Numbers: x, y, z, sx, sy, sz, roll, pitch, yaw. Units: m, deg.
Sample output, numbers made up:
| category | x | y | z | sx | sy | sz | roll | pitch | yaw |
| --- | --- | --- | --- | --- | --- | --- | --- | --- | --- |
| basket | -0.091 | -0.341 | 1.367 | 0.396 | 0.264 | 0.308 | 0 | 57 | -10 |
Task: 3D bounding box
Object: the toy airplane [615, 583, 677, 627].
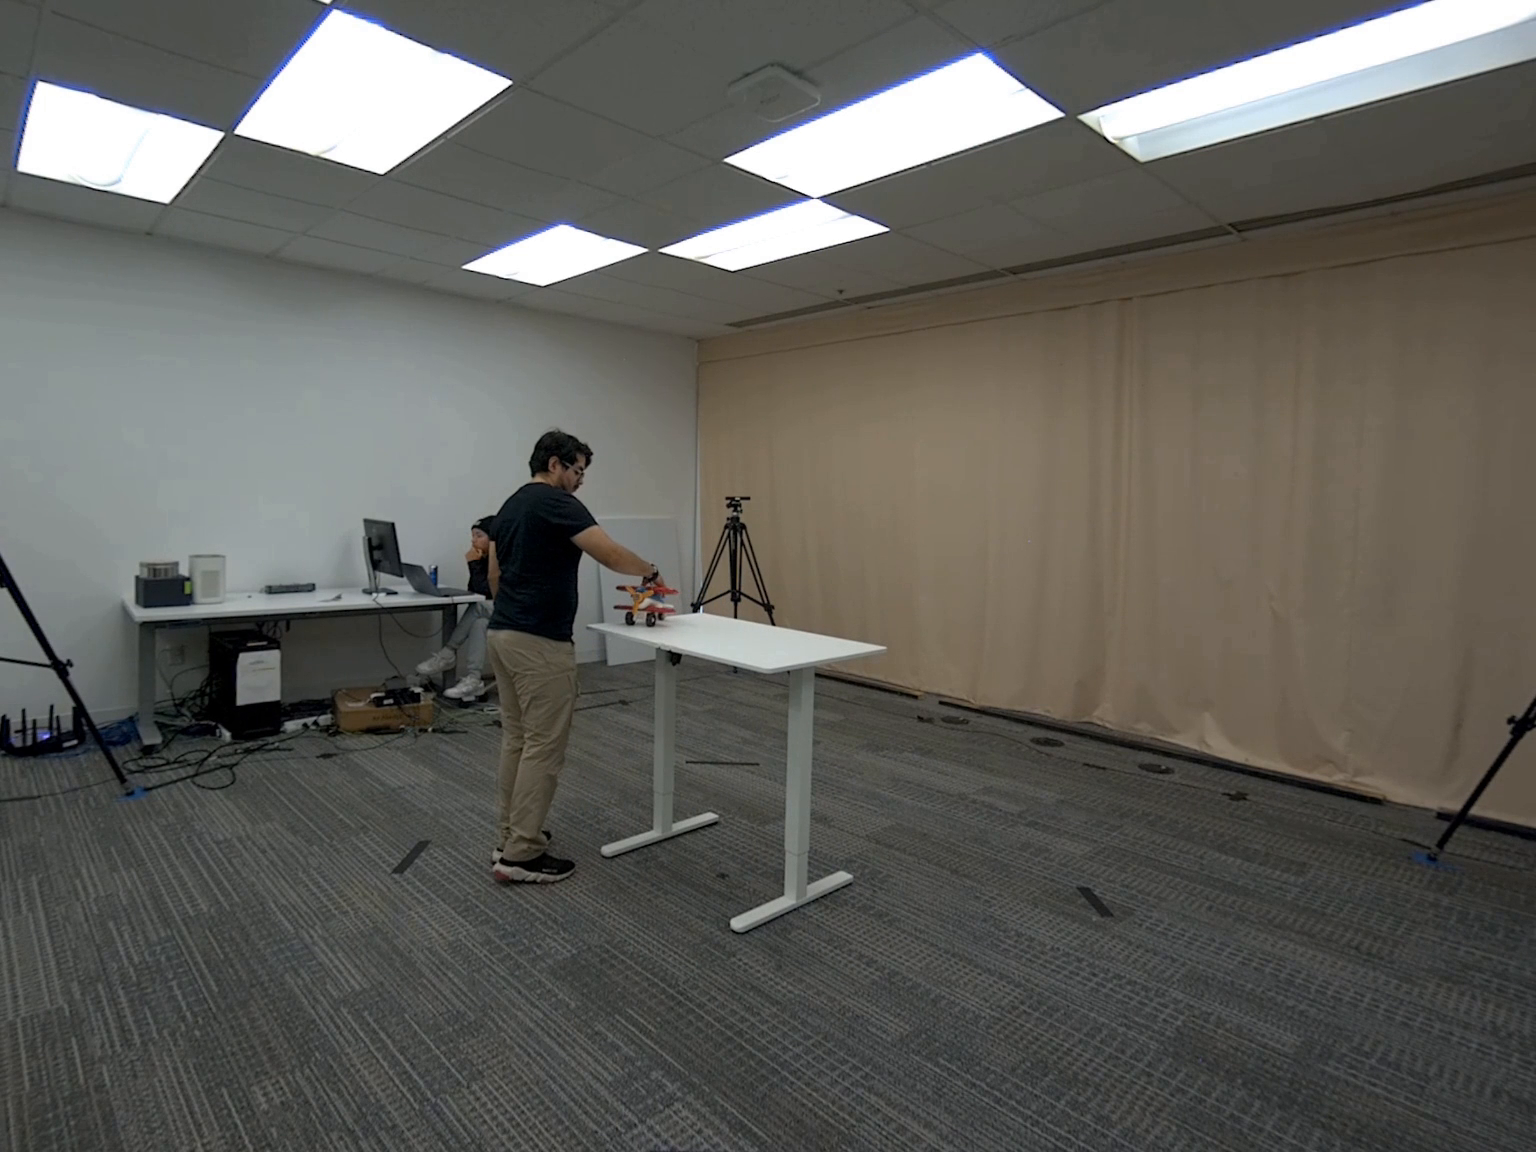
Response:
| category | x | y | z | sx | sy | sz | roll | pitch | yaw |
| --- | --- | --- | --- | --- | --- | --- | --- | --- | --- |
| toy airplane | -0.506 | 0.109 | 3.369 | 0.248 | 0.156 | 0.263 | 1 | 6 | -14 |
